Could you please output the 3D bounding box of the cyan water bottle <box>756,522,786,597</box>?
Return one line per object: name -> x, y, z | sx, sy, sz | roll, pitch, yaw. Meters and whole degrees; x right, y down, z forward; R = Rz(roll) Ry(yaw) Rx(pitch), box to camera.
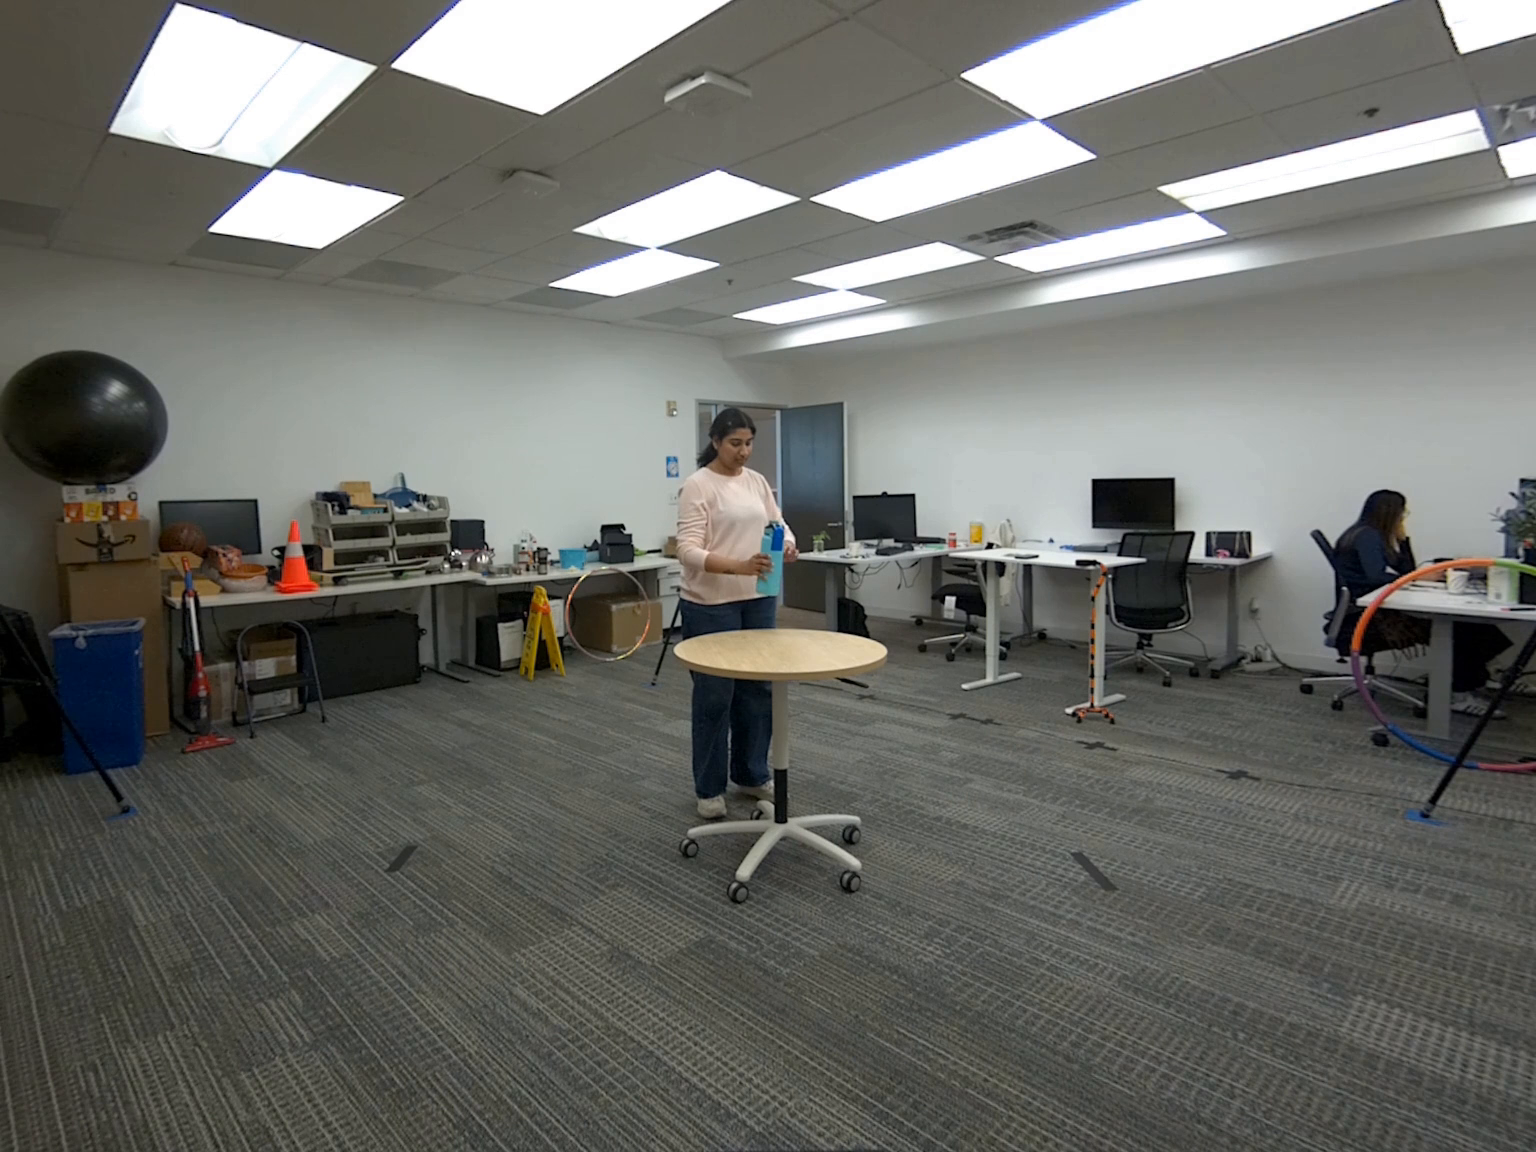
cyan water bottle -> 0.016, -0.071, 3.284 | 0.092, 0.281, 0.093 | 6, 8, -3
